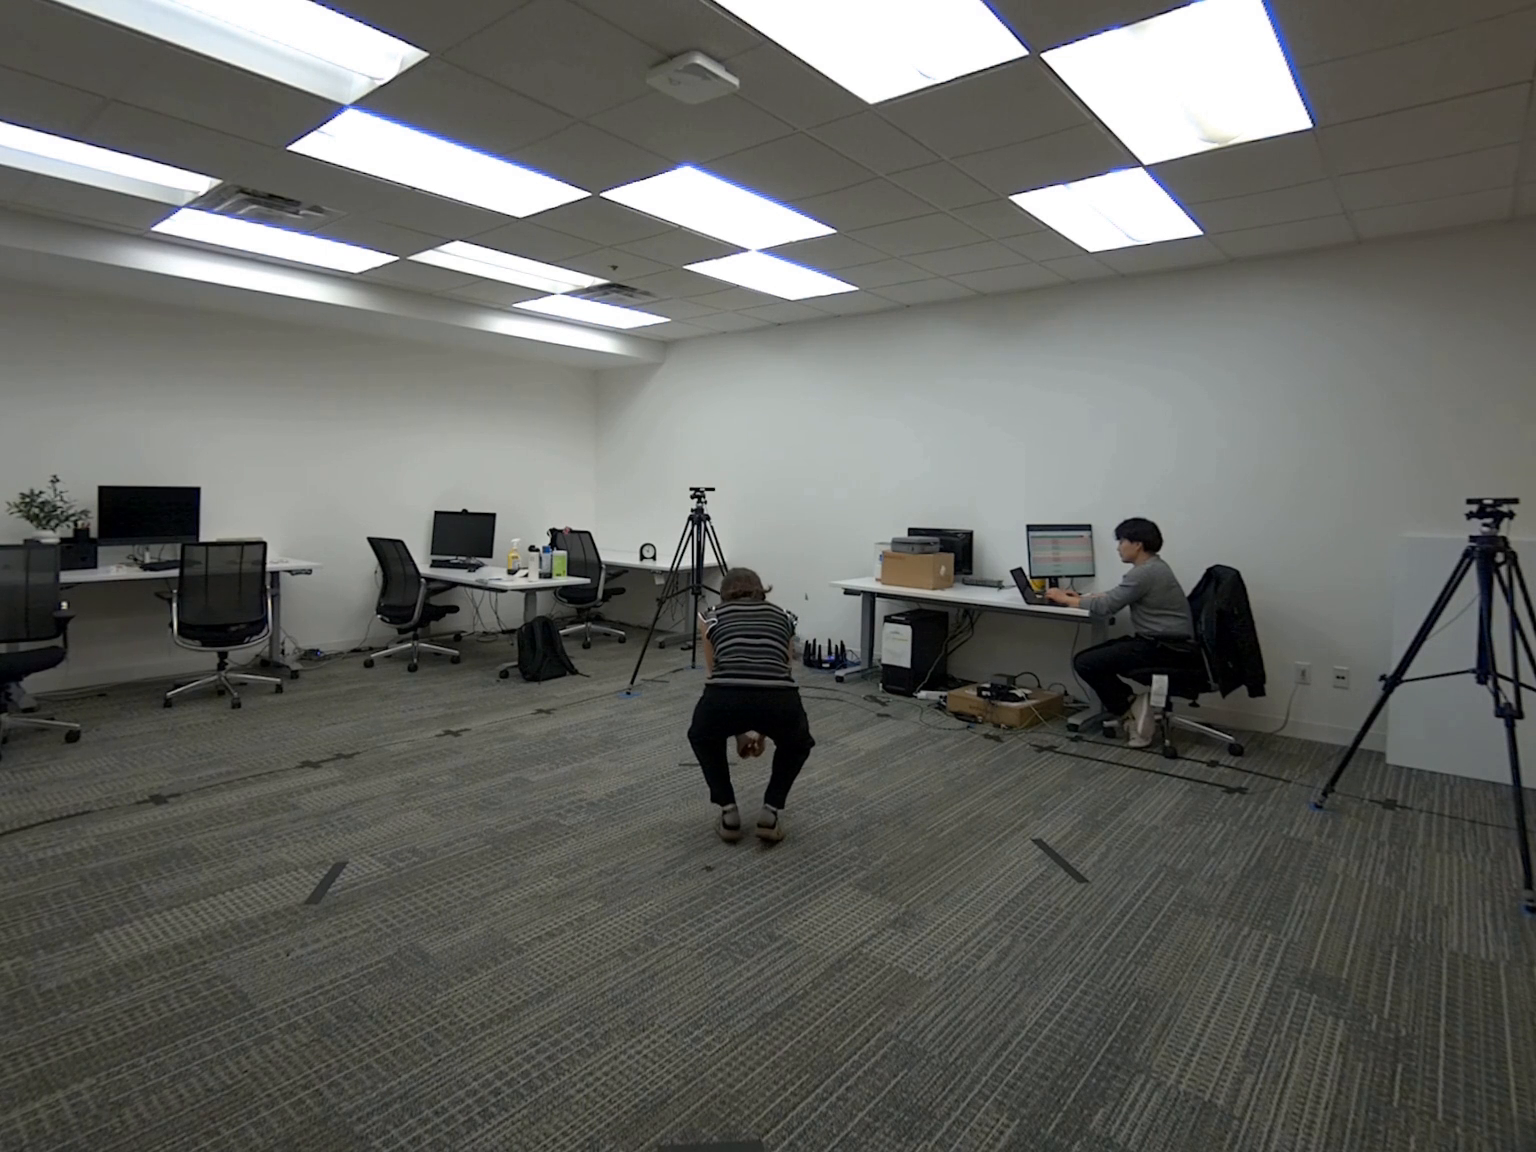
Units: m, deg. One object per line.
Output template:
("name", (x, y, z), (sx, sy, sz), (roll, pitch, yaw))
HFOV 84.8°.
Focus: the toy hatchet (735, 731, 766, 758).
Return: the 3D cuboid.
("toy hatchet", (-0.068, 0.735, 3.736), (0.130, 0.030, 0.266), (-10, -15, -6))
